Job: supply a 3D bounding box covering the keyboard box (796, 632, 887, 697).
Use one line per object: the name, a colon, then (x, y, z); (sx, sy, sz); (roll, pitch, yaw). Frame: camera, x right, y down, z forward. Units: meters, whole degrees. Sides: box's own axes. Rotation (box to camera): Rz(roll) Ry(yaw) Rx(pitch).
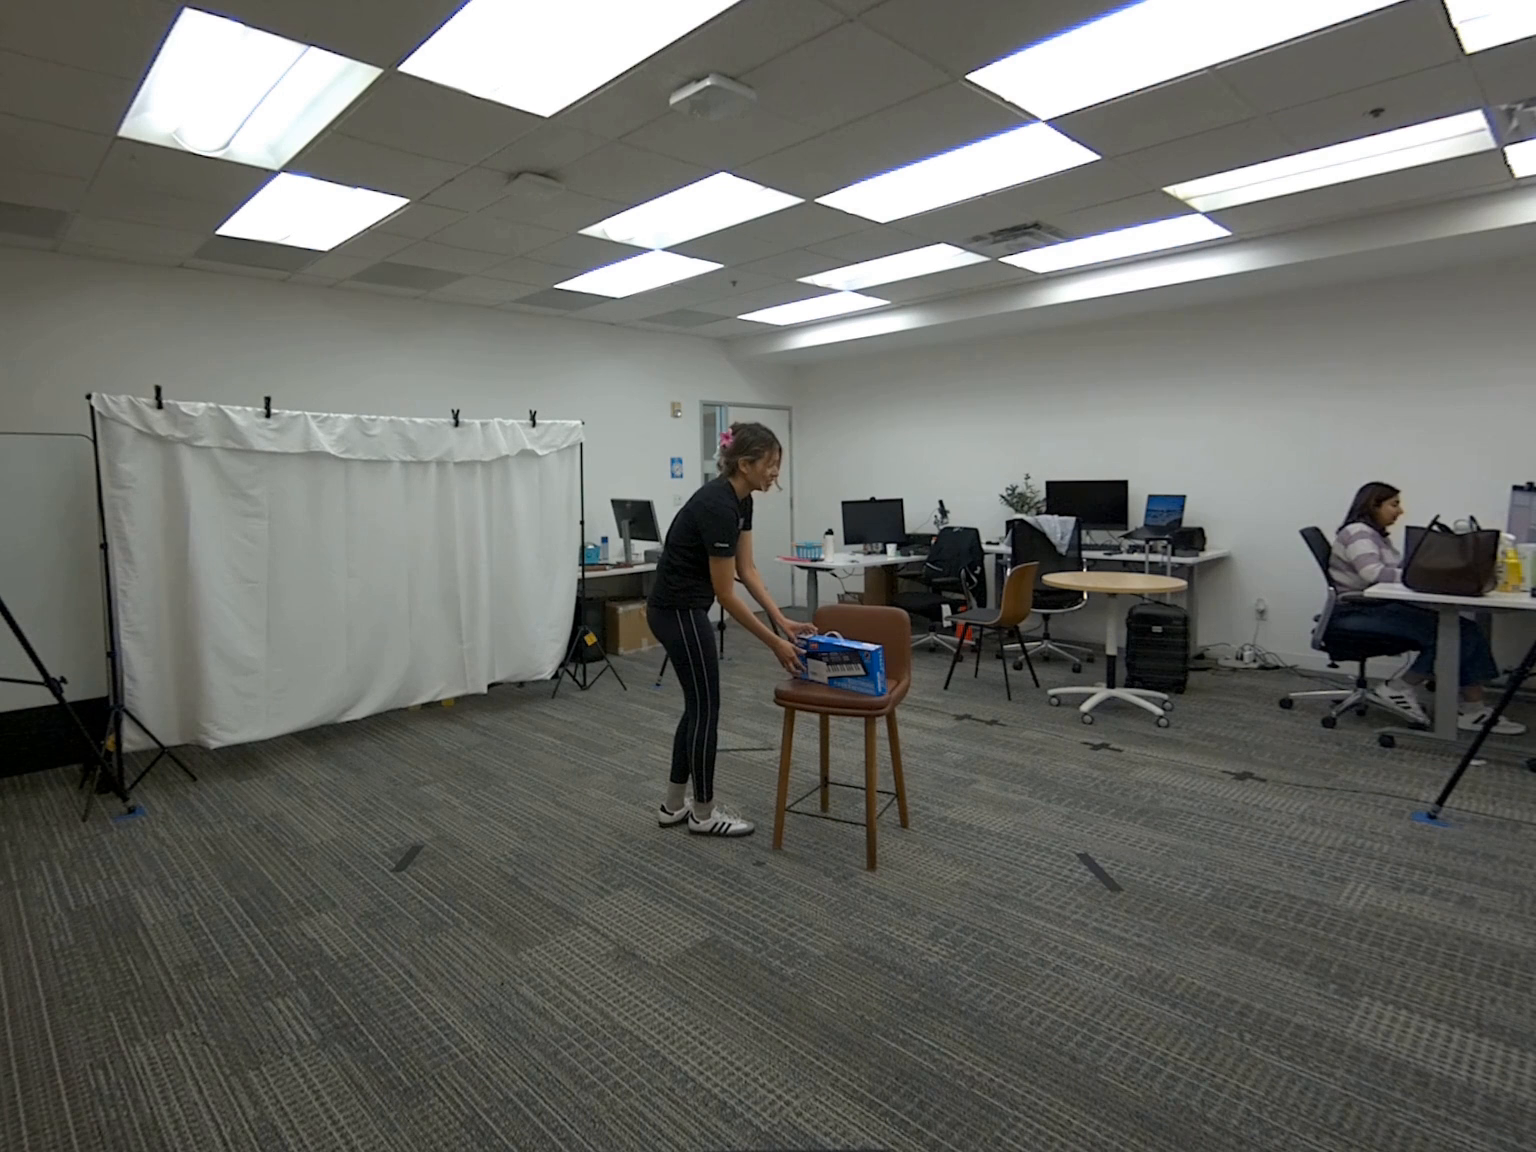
keyboard box: (0.244, 0.330, 3.228); (0.058, 0.174, 0.450); (-13, 12, -40)
